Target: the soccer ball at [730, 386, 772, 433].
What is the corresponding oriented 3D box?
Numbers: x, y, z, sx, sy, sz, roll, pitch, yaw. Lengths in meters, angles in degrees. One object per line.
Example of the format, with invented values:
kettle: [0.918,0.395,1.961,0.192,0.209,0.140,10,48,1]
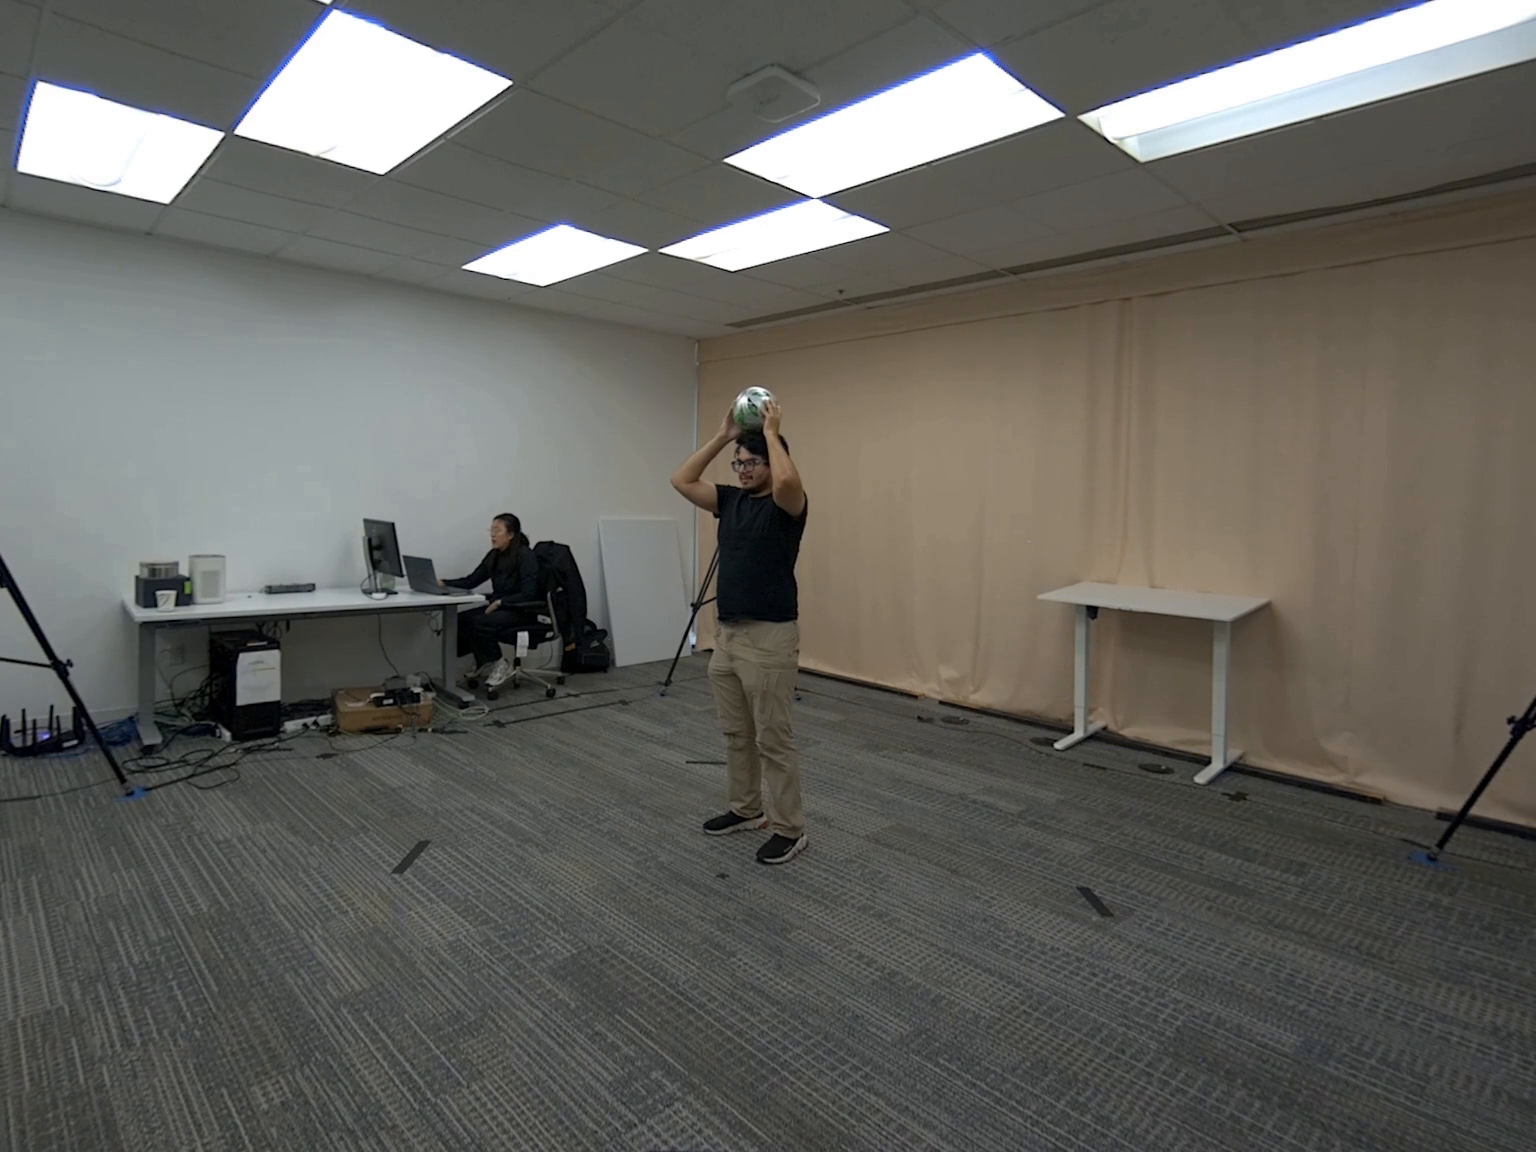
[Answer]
soccer ball: [-0.050,-0.652,3.334,0.187,0.187,0.188,1,4,-1]
